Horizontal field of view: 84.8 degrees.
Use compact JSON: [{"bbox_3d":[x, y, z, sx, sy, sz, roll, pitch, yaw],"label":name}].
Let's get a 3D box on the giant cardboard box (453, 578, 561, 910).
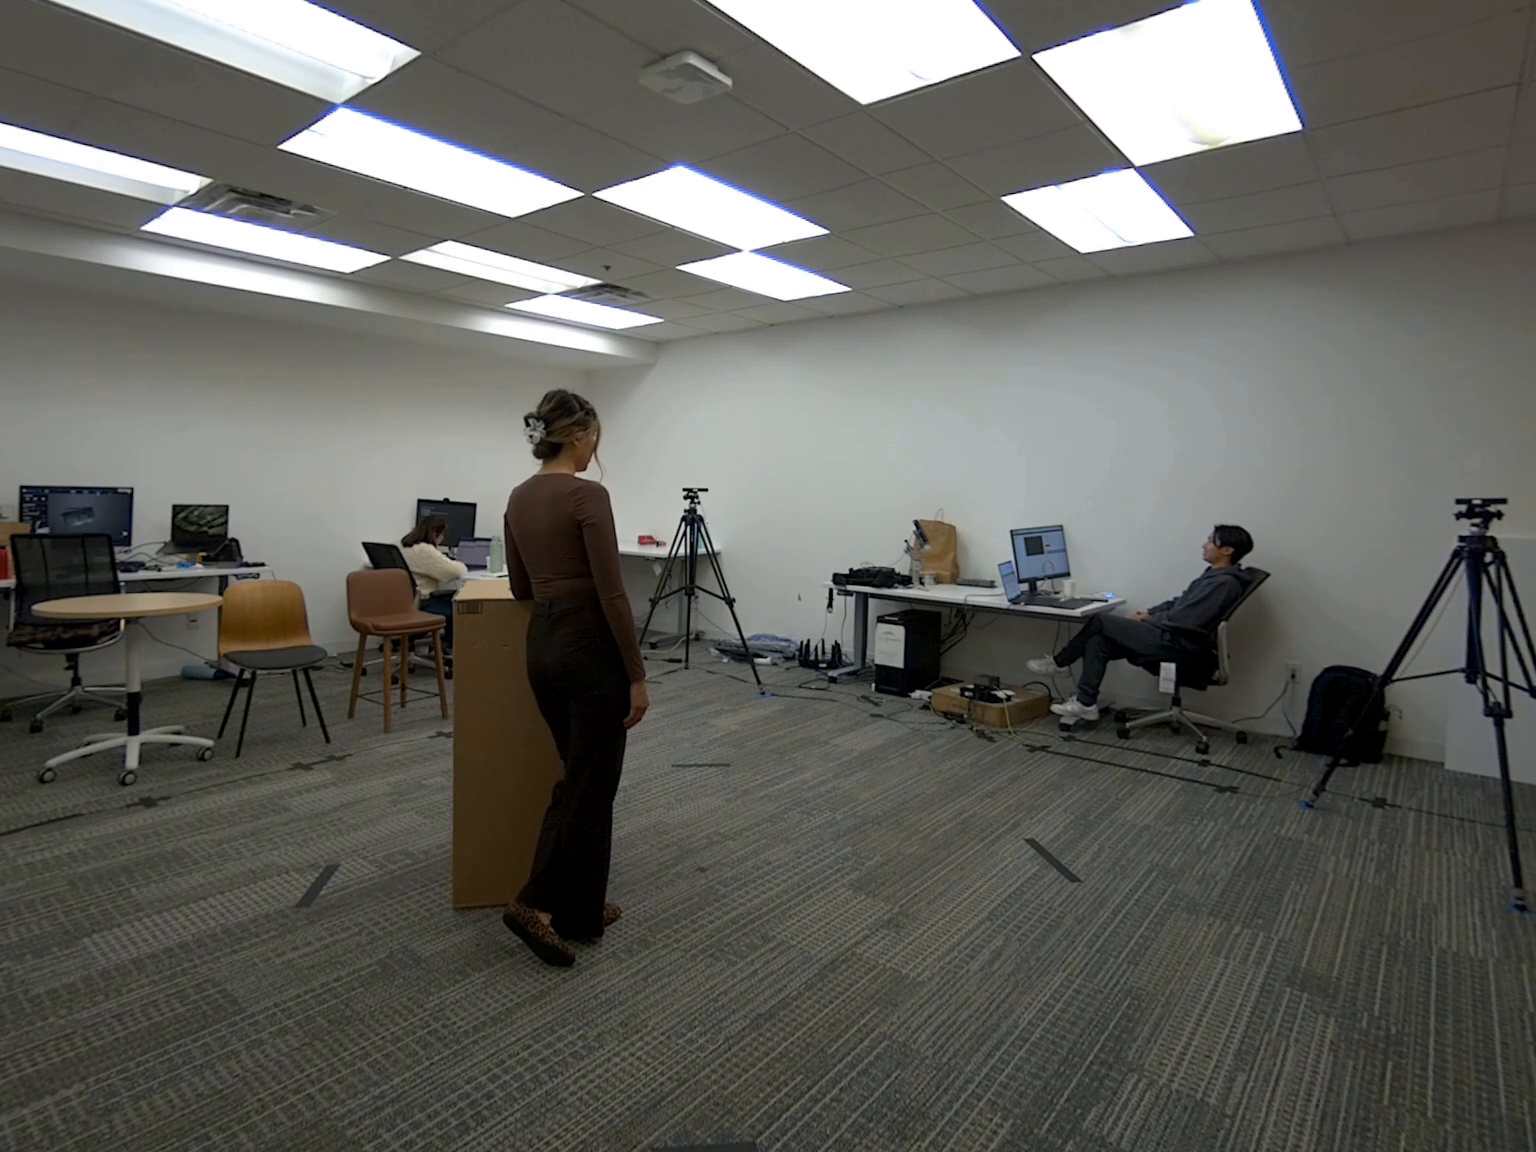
[{"bbox_3d":[-0.910,0.552,3.079,0.440,1.024,0.594,0,3,-15],"label":"giant cardboard box"}]
